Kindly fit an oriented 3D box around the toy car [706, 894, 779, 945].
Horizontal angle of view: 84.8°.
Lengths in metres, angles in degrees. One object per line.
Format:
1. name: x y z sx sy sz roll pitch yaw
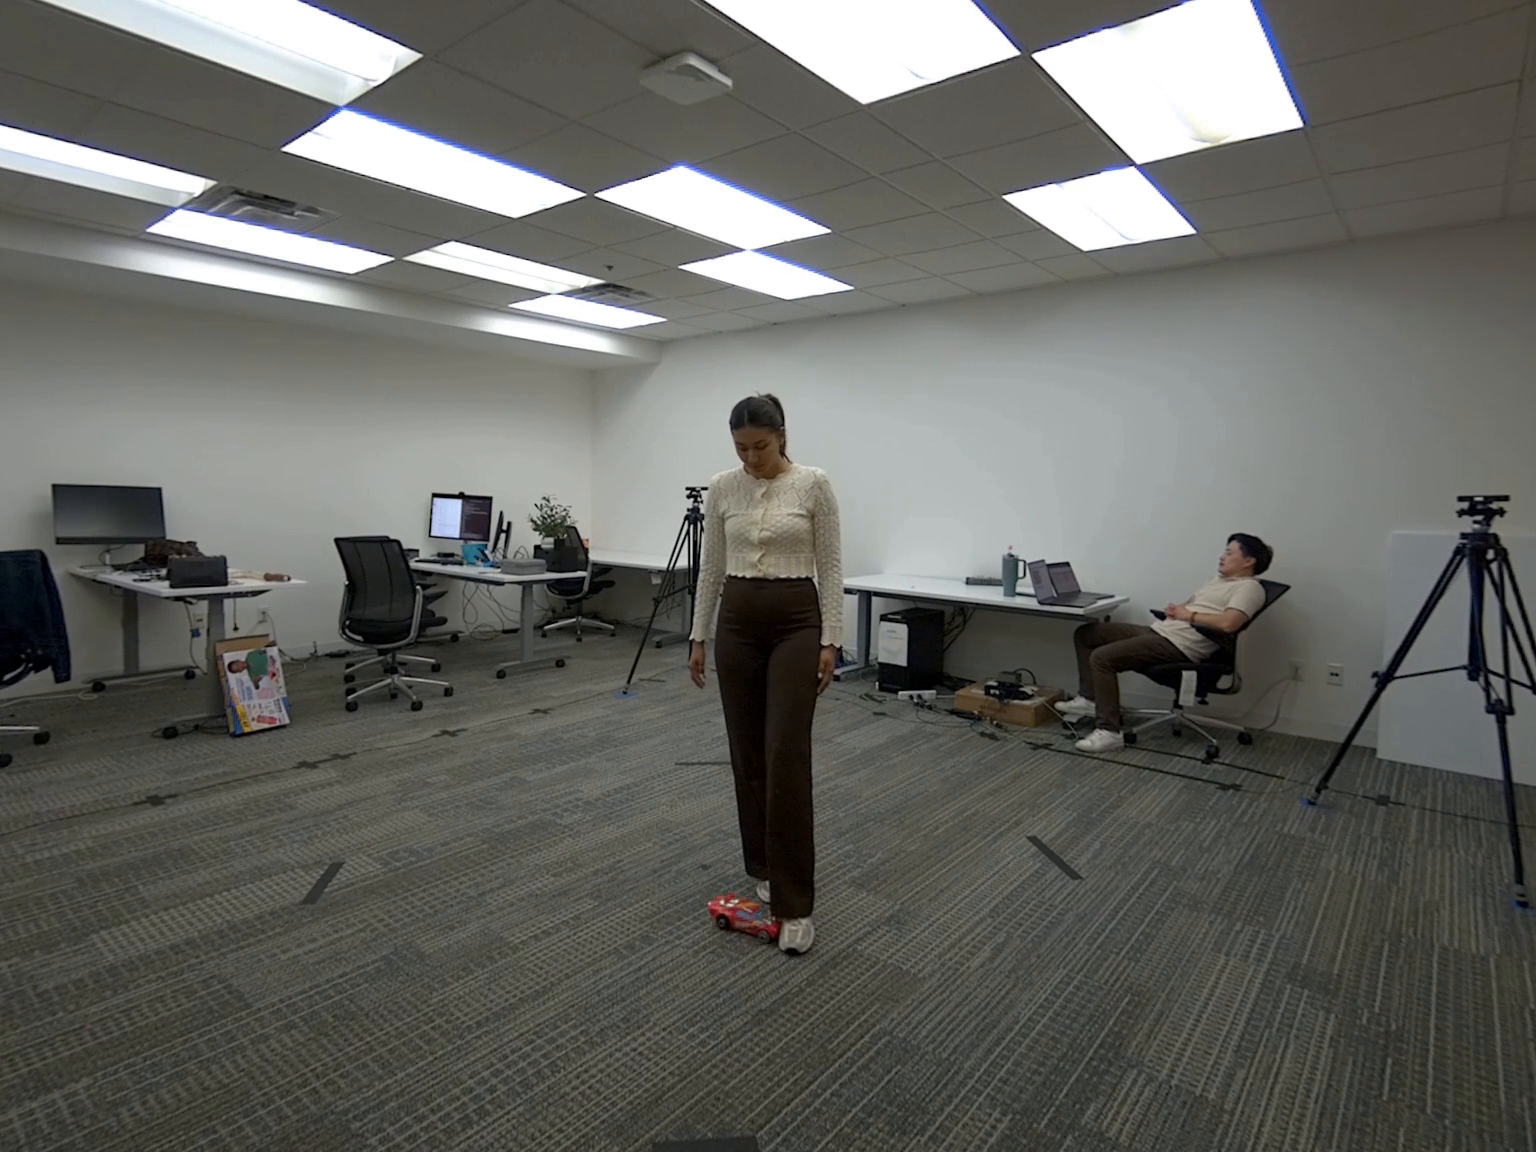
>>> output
1. toy car: -0.081 1.078 2.698 0.263 0.083 0.127 16 10 28
